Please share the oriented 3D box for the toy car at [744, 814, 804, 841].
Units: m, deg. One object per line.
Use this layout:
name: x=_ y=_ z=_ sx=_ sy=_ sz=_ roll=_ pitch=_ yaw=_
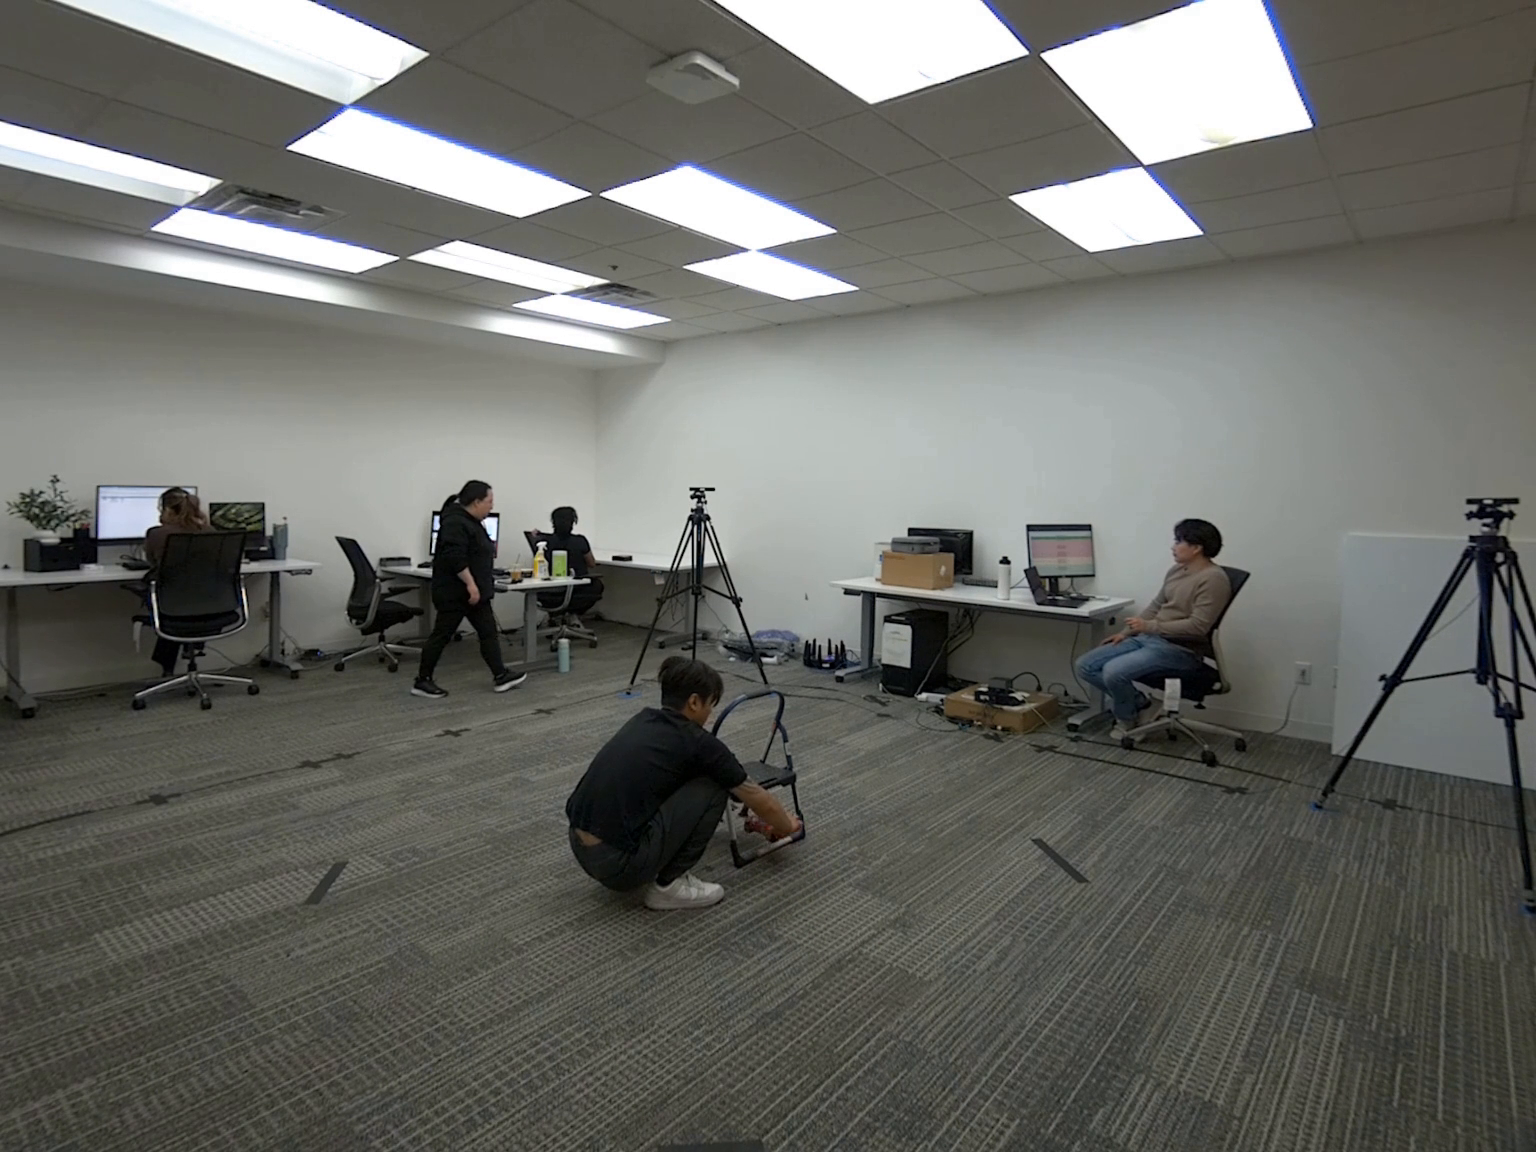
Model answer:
toy car: x=0.009 y=0.980 z=3.260 sx=0.127 sy=0.083 sz=0.259 roll=-11 pitch=-2 yaw=-33
